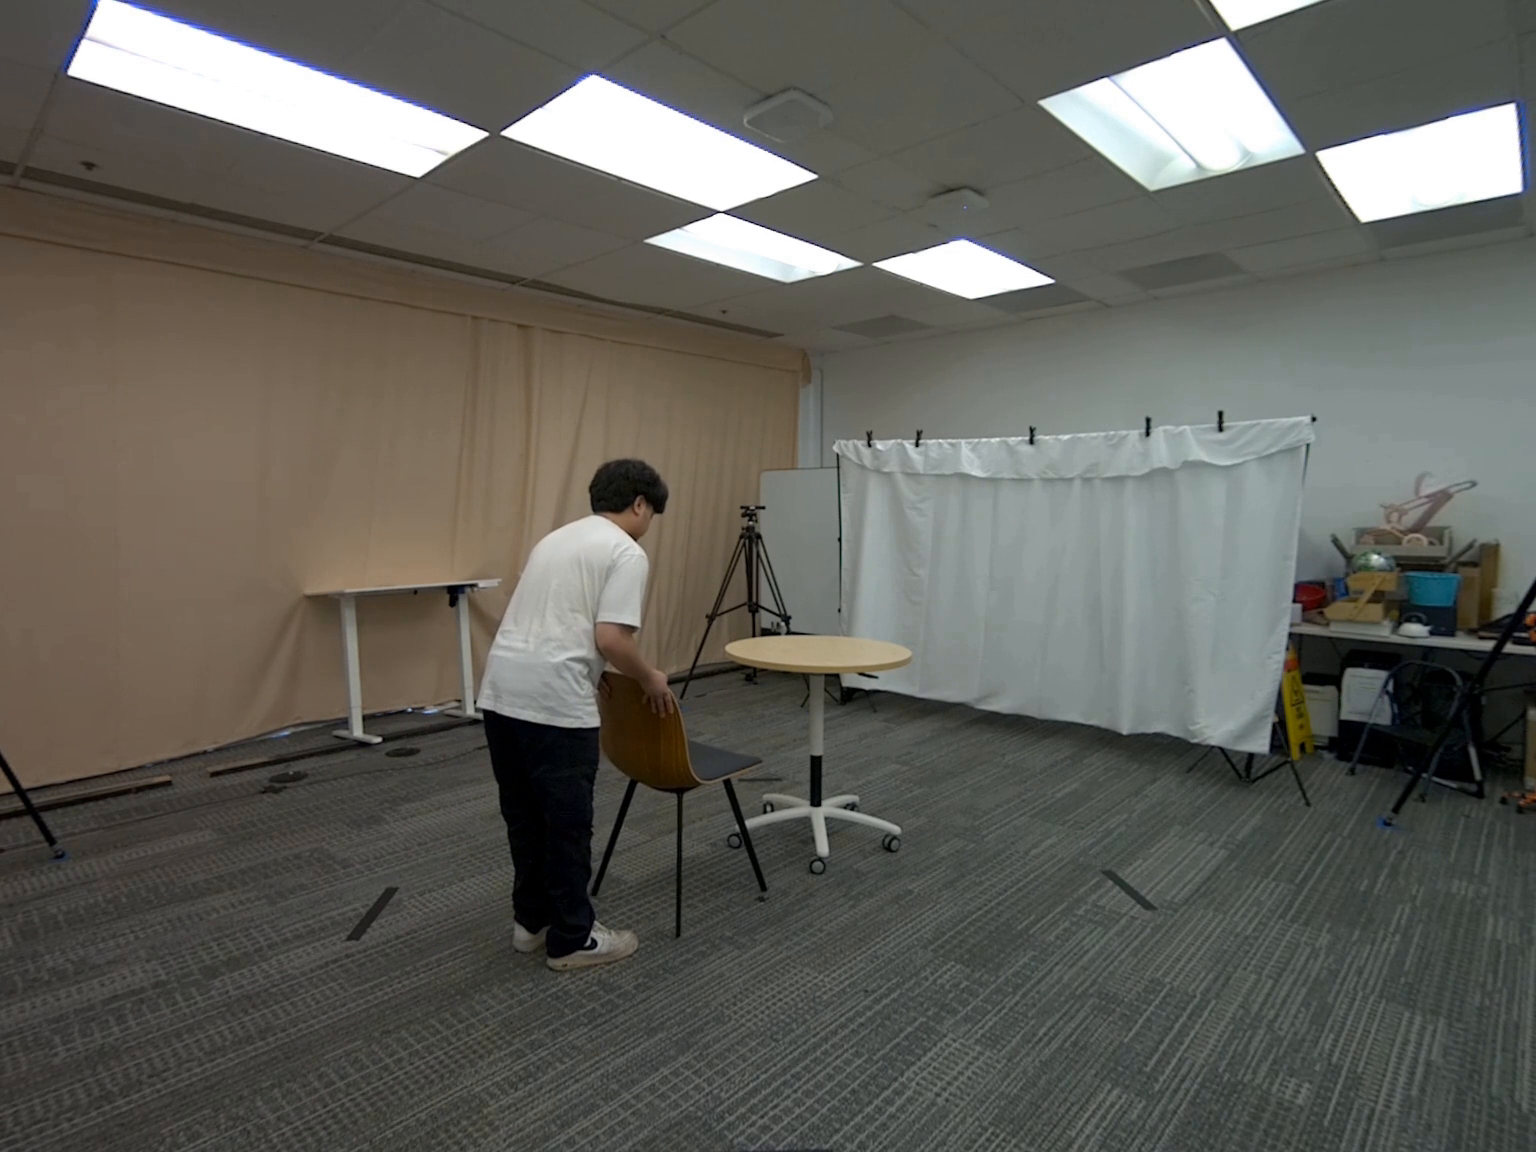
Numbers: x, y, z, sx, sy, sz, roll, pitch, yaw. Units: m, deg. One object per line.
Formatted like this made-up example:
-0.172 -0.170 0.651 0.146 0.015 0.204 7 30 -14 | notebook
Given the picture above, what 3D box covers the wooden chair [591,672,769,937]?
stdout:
-0.311 0.716 3.006 0.494 0.874 0.508 2 8 42 | wooden chair
